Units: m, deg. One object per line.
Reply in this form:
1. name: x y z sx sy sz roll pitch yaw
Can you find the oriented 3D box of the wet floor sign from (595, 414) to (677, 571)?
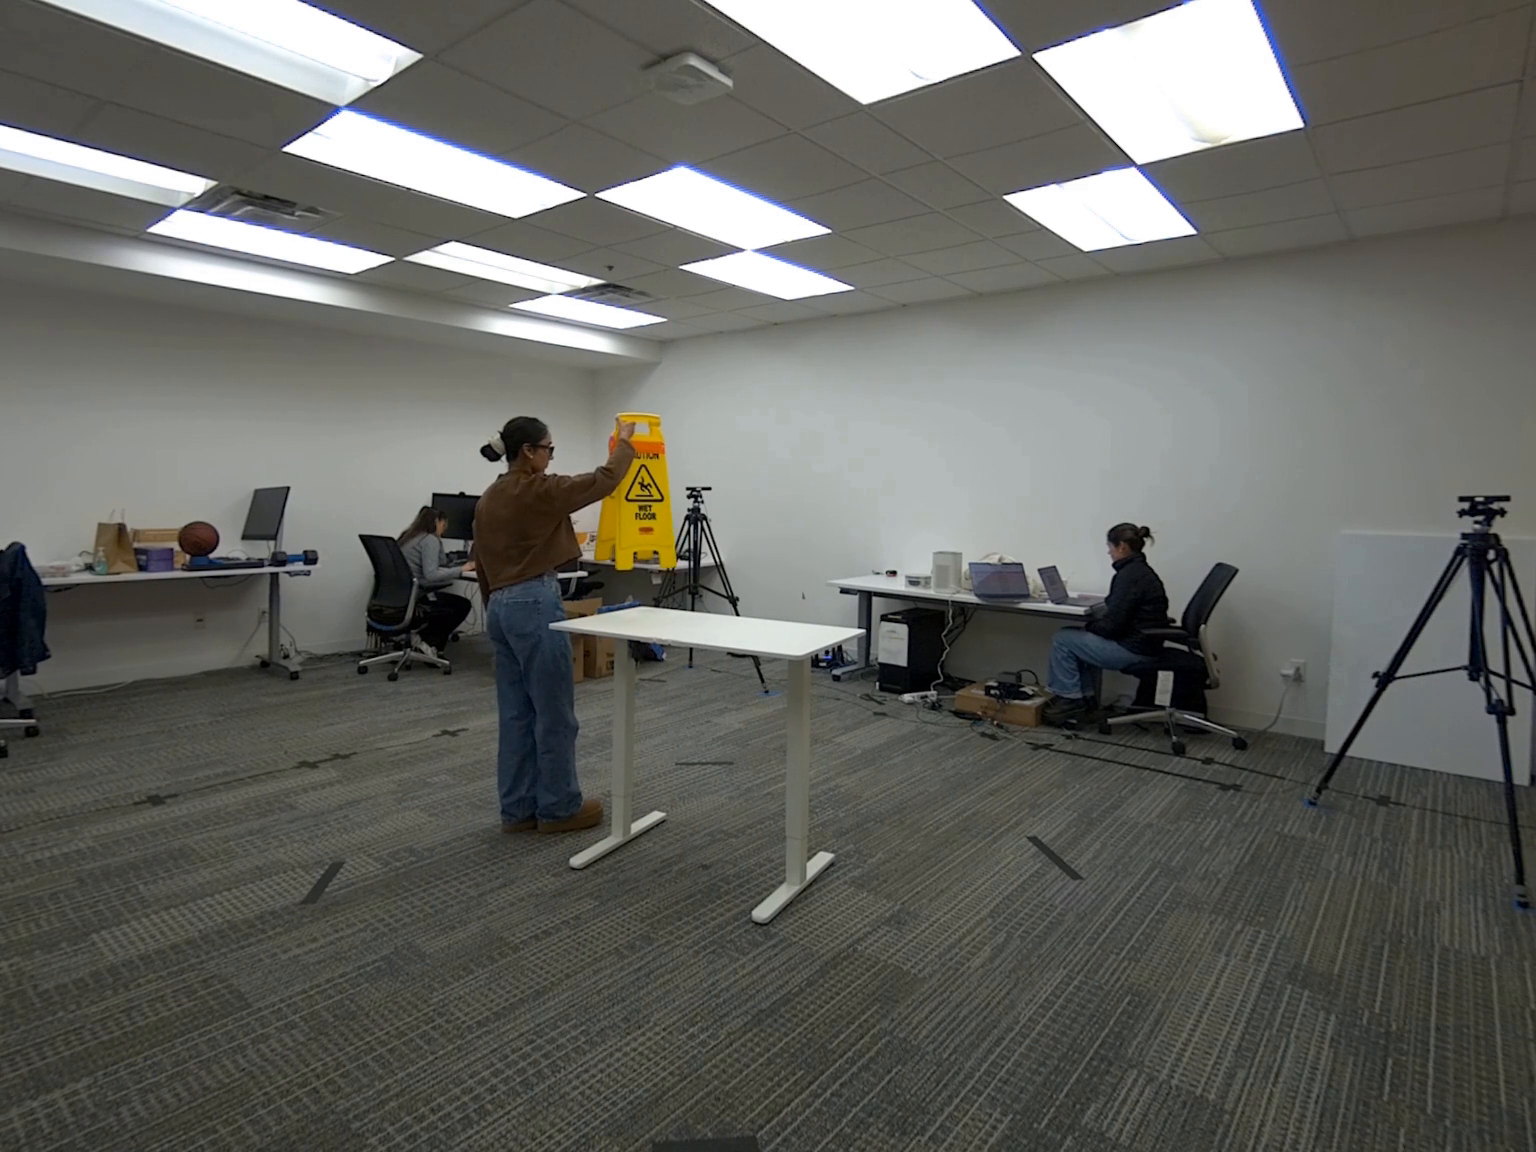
1. wet floor sign: -0.579 -0.371 3.660 0.275 0.642 0.299 -2 8 -29
